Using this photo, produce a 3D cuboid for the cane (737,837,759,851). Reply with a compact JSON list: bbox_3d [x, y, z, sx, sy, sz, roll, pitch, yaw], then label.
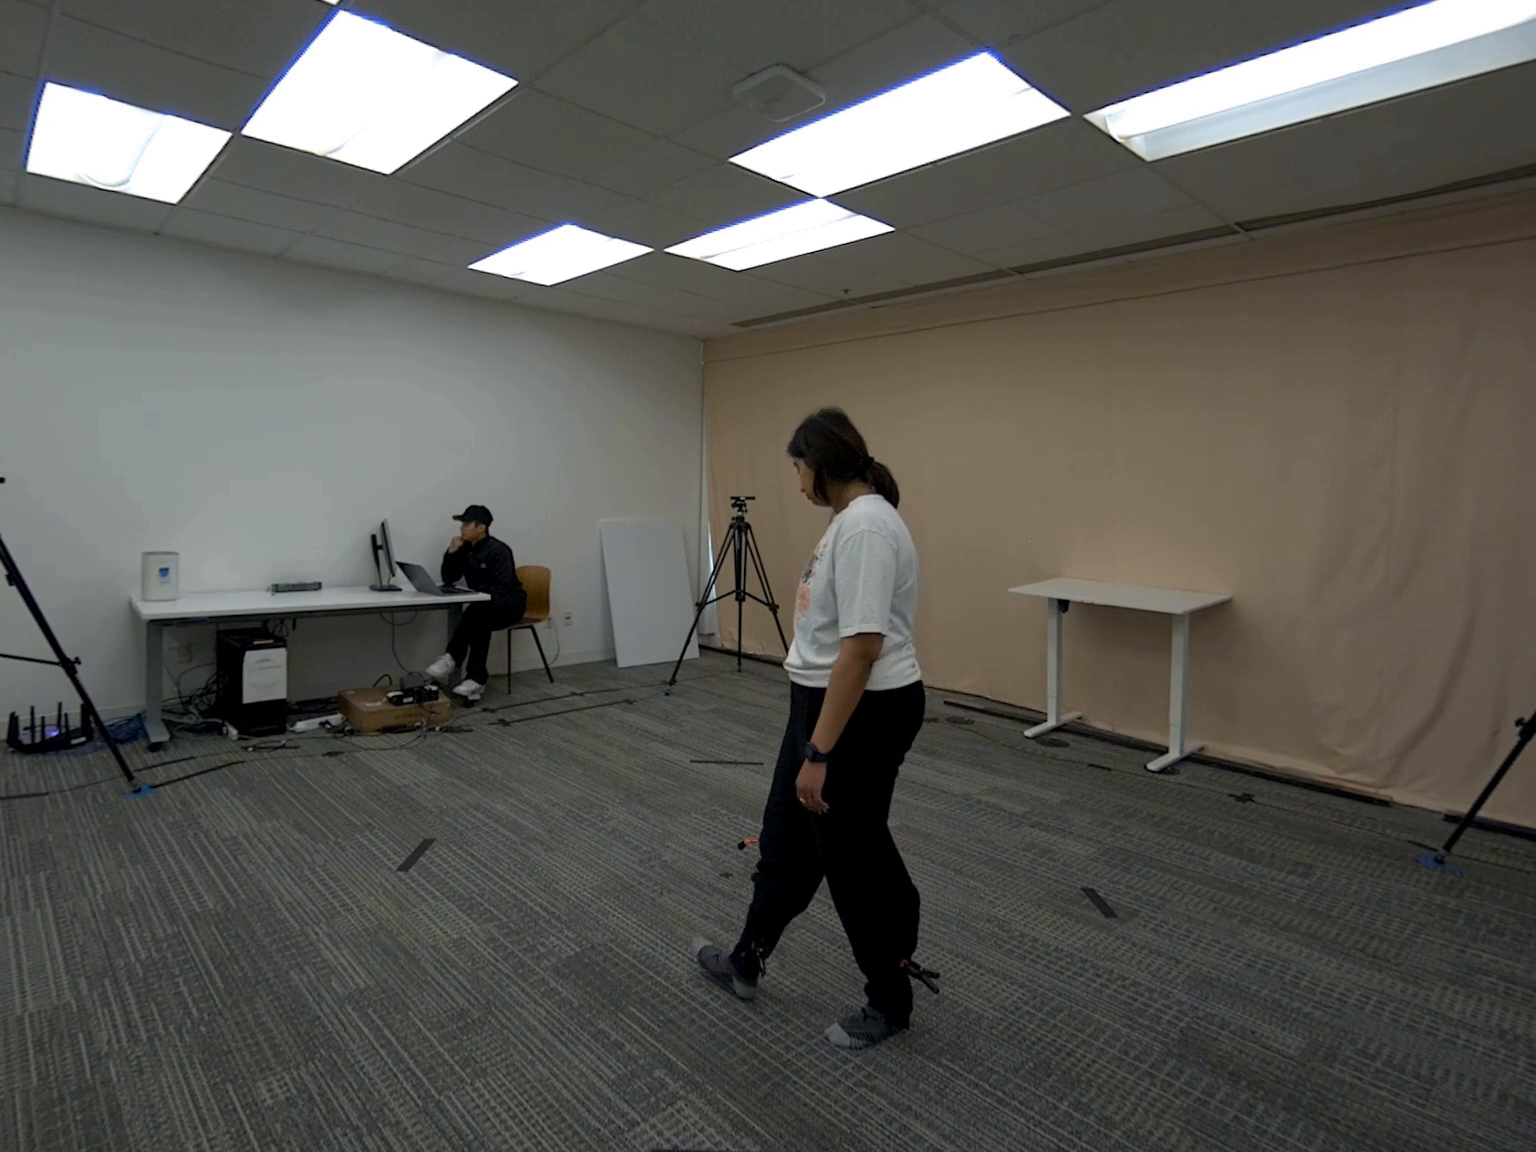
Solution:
[{"bbox_3d":[0.177,0.755,2.876,0.202,0.901,0.156,-3,50,-35],"label":"cane"}]
